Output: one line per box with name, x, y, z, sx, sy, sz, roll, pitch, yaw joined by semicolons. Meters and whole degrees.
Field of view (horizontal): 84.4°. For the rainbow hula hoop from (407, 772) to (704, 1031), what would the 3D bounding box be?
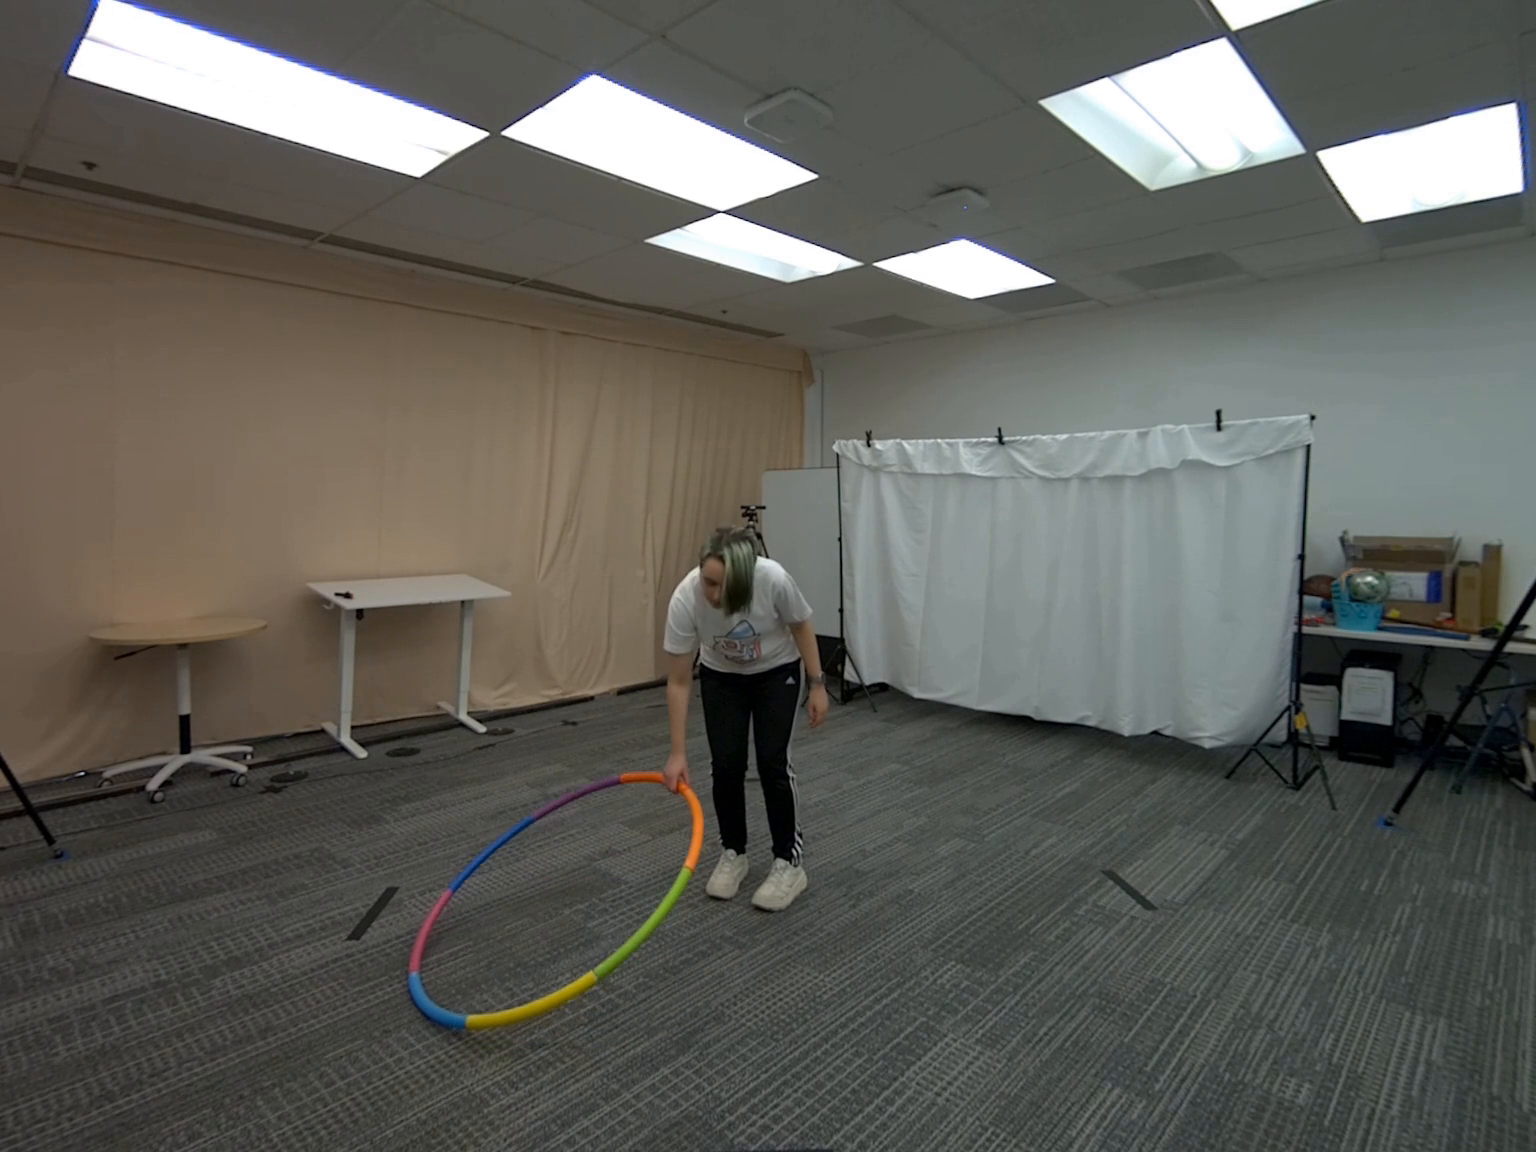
rainbow hula hoop;-0.647;0.944;2.591;0.983;0.035;0.991;-22;20;6
